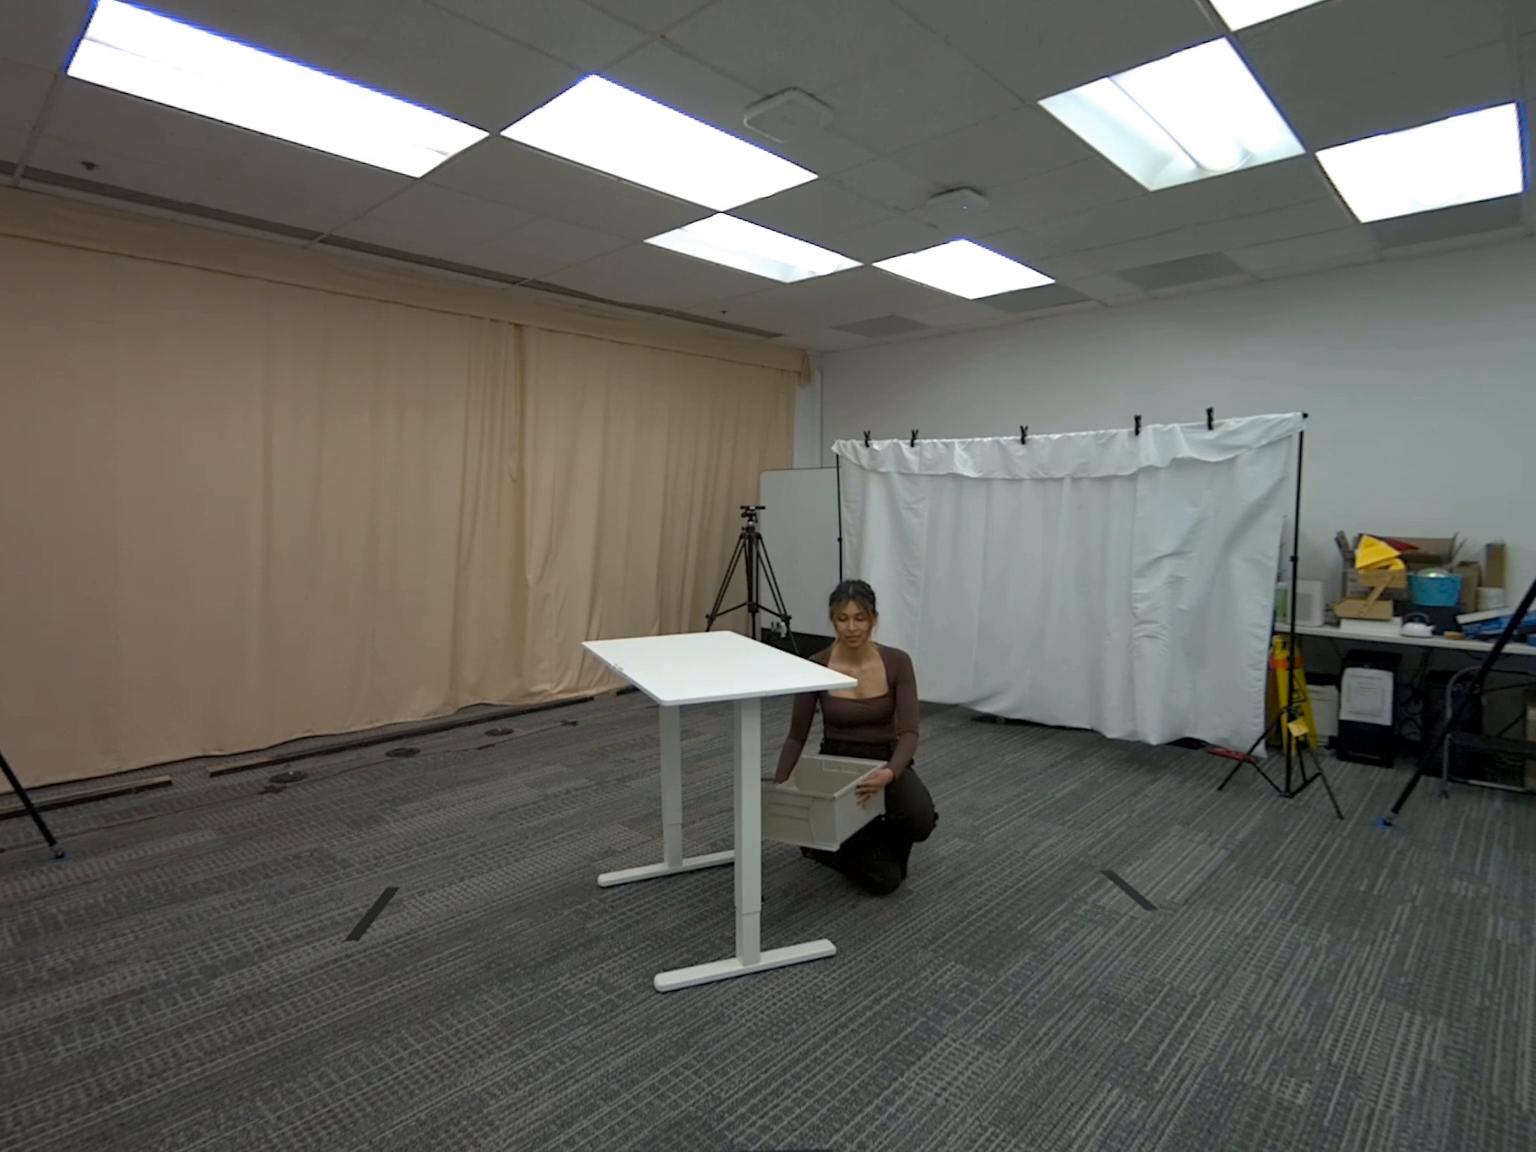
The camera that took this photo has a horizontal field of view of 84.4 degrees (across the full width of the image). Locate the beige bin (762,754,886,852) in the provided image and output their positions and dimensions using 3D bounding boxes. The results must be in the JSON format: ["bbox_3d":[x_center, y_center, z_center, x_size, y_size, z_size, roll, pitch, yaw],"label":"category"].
[{"bbox_3d":[0.155,0.763,2.893,0.388,0.189,0.411,0,3,32],"label":"beige bin"}]
